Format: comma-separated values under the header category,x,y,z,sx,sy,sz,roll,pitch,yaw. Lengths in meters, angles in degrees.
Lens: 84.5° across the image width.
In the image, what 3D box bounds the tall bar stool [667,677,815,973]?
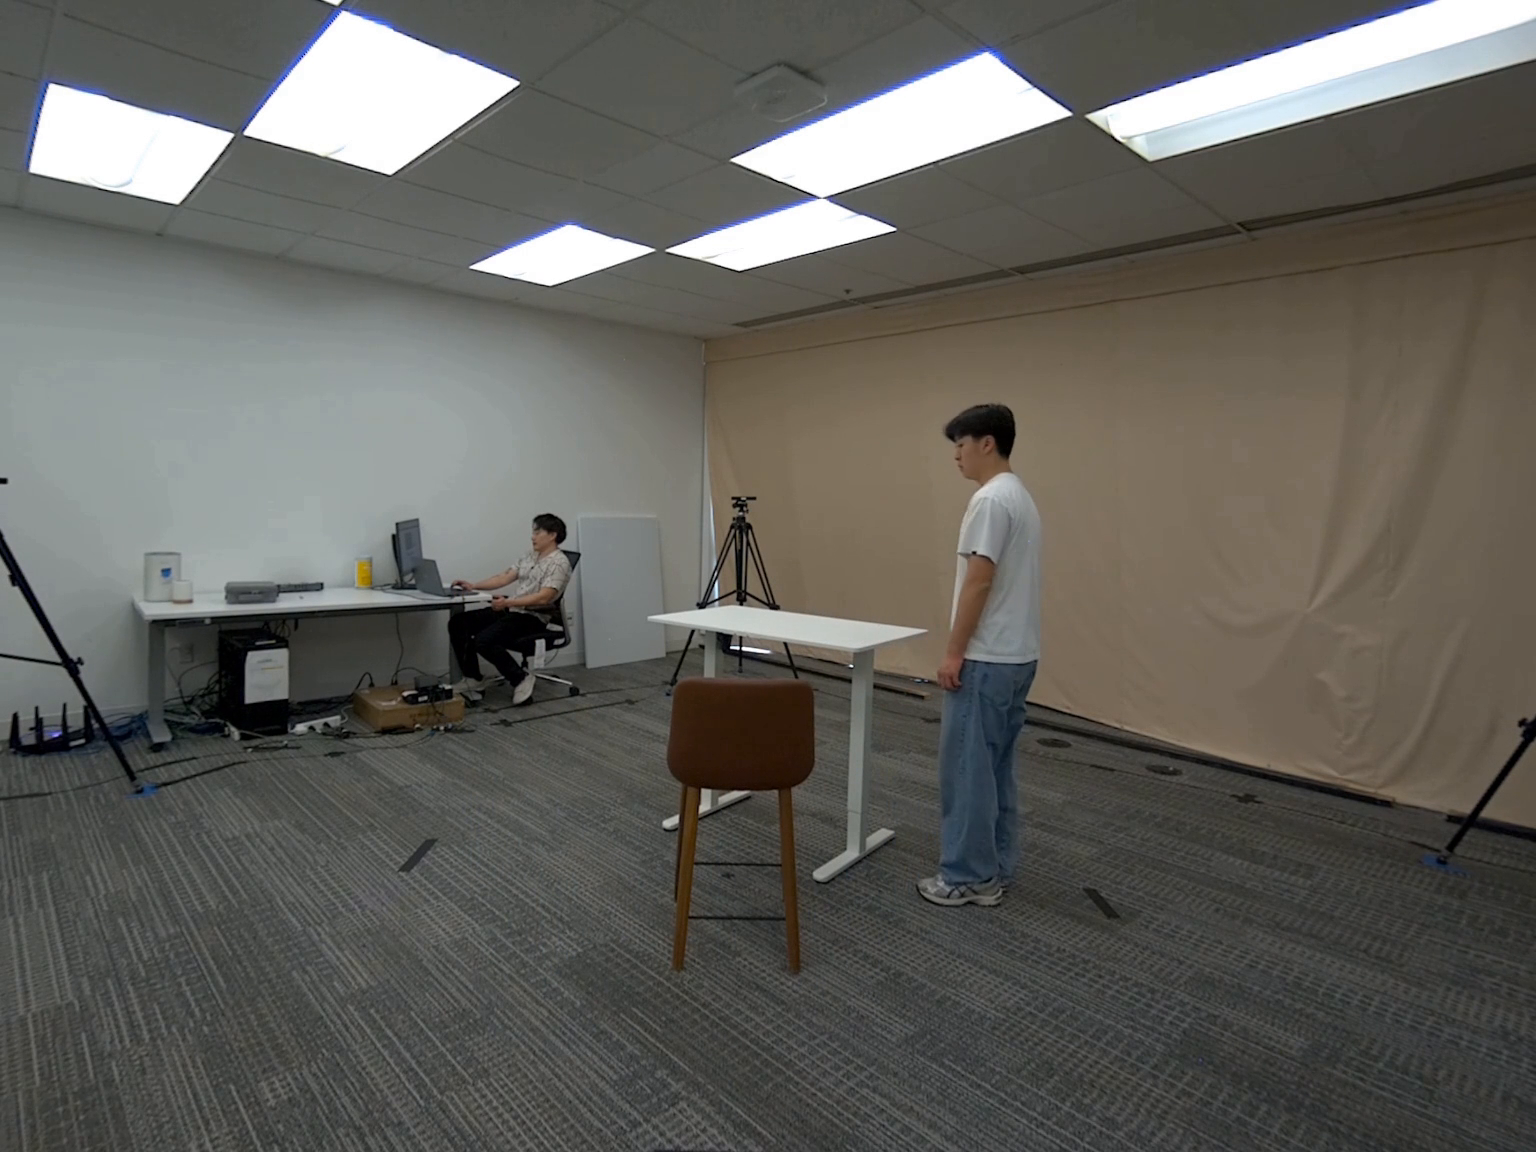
category,x,y,z,sx,sy,sz,roll,pitch,yaw
tall bar stool,-0.106,0.714,2.664,0.455,0.886,0.470,1,5,-3
